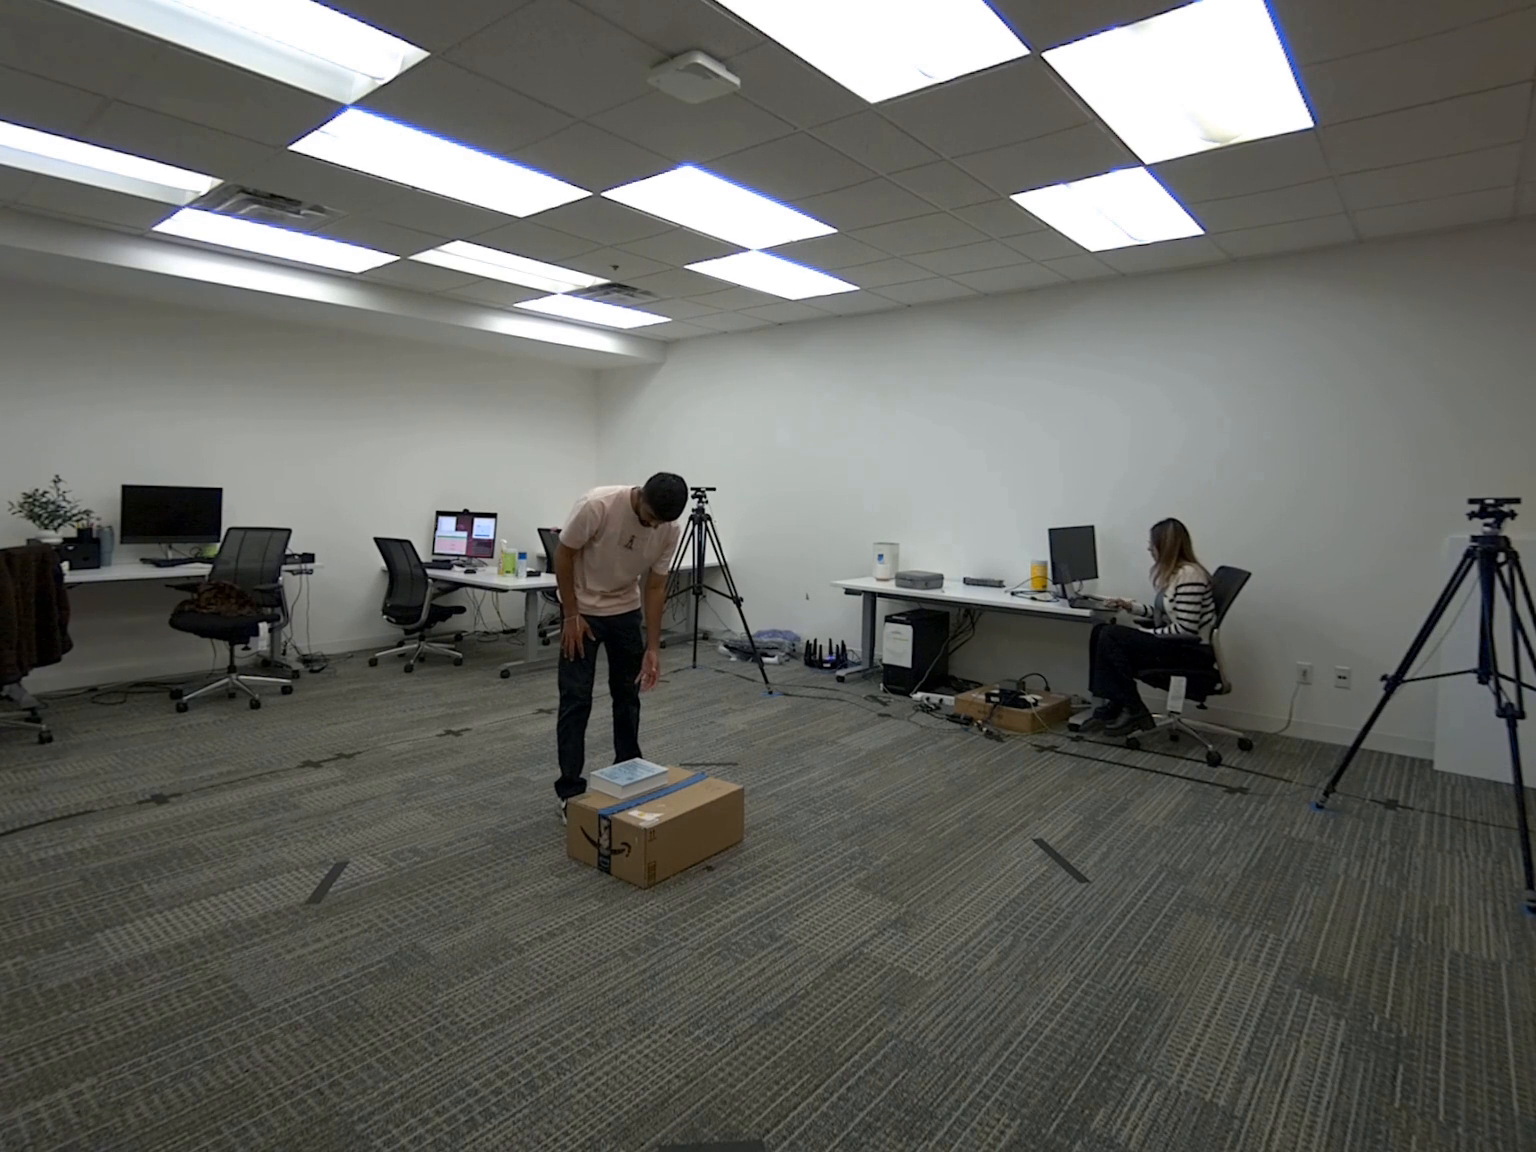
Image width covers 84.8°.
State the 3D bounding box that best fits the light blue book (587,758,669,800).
[{"bbox_3d":[-0.553,0.795,3.358,0.198,0.059,0.253,8,8,37],"label":"light blue book"}]
